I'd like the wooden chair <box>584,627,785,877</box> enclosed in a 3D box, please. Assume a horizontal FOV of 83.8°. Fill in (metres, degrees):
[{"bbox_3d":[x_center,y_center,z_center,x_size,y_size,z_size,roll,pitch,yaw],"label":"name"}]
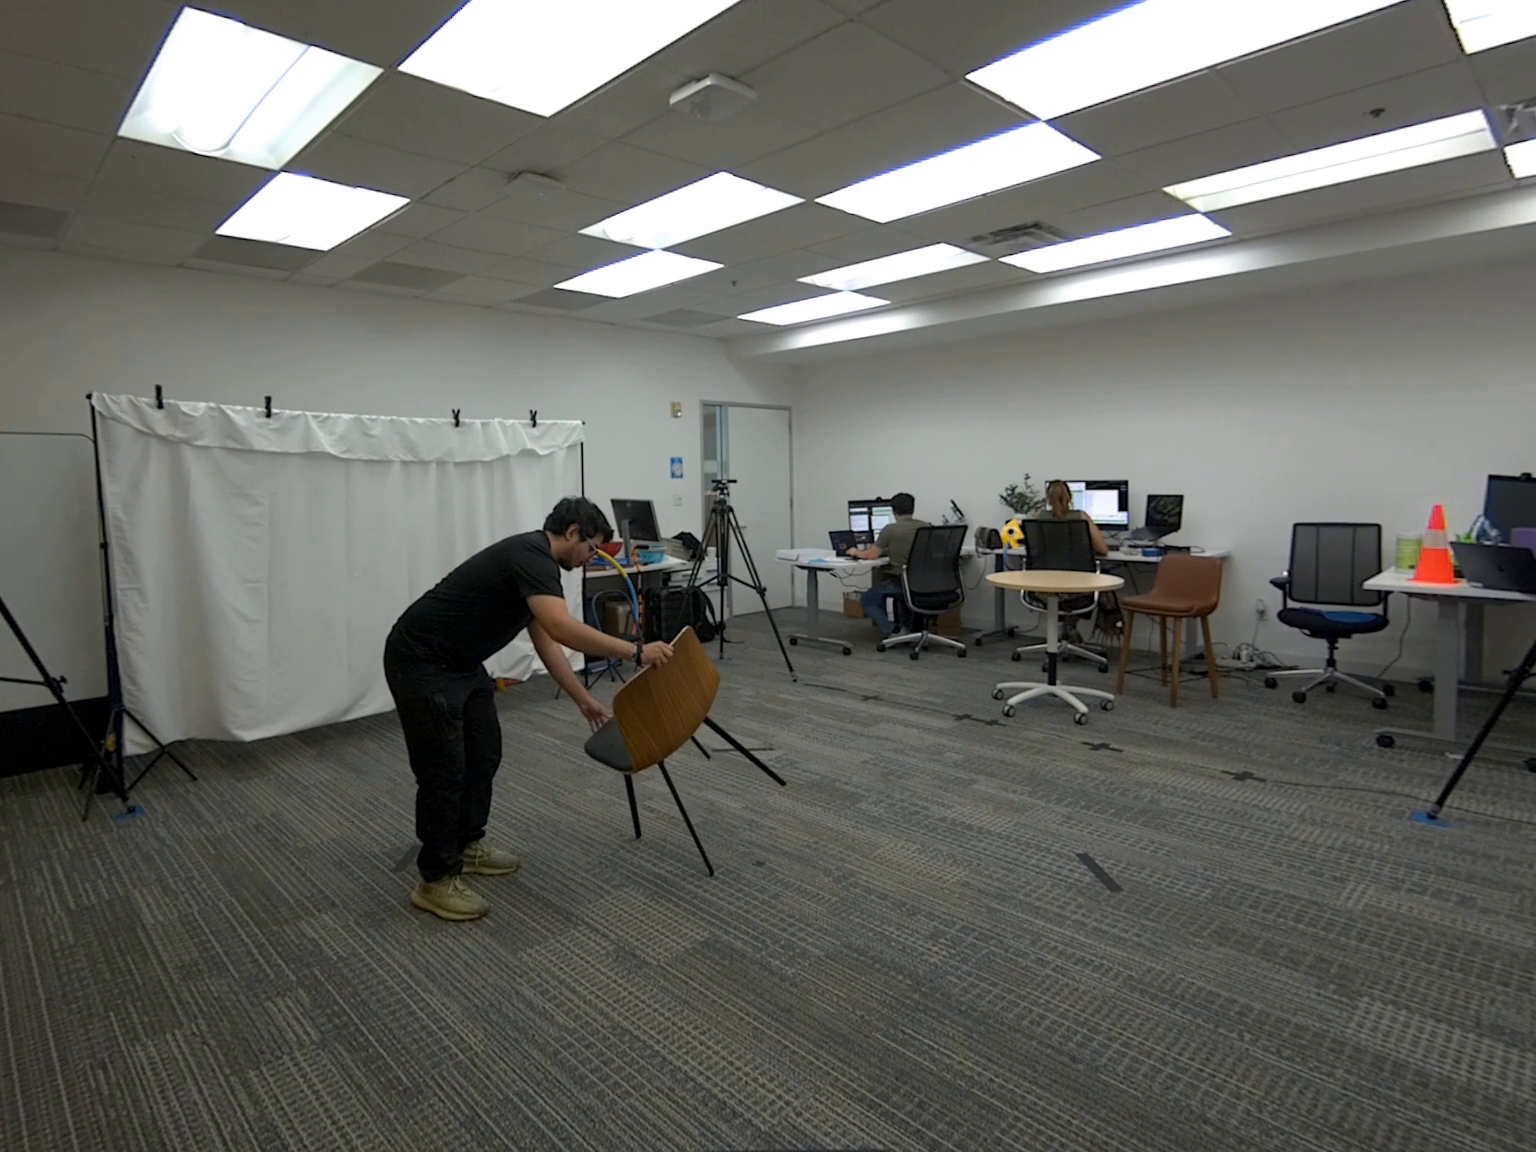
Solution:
[{"bbox_3d":[-0.393,0.570,3.142,0.540,0.851,0.477,9,42,44],"label":"wooden chair"}]
